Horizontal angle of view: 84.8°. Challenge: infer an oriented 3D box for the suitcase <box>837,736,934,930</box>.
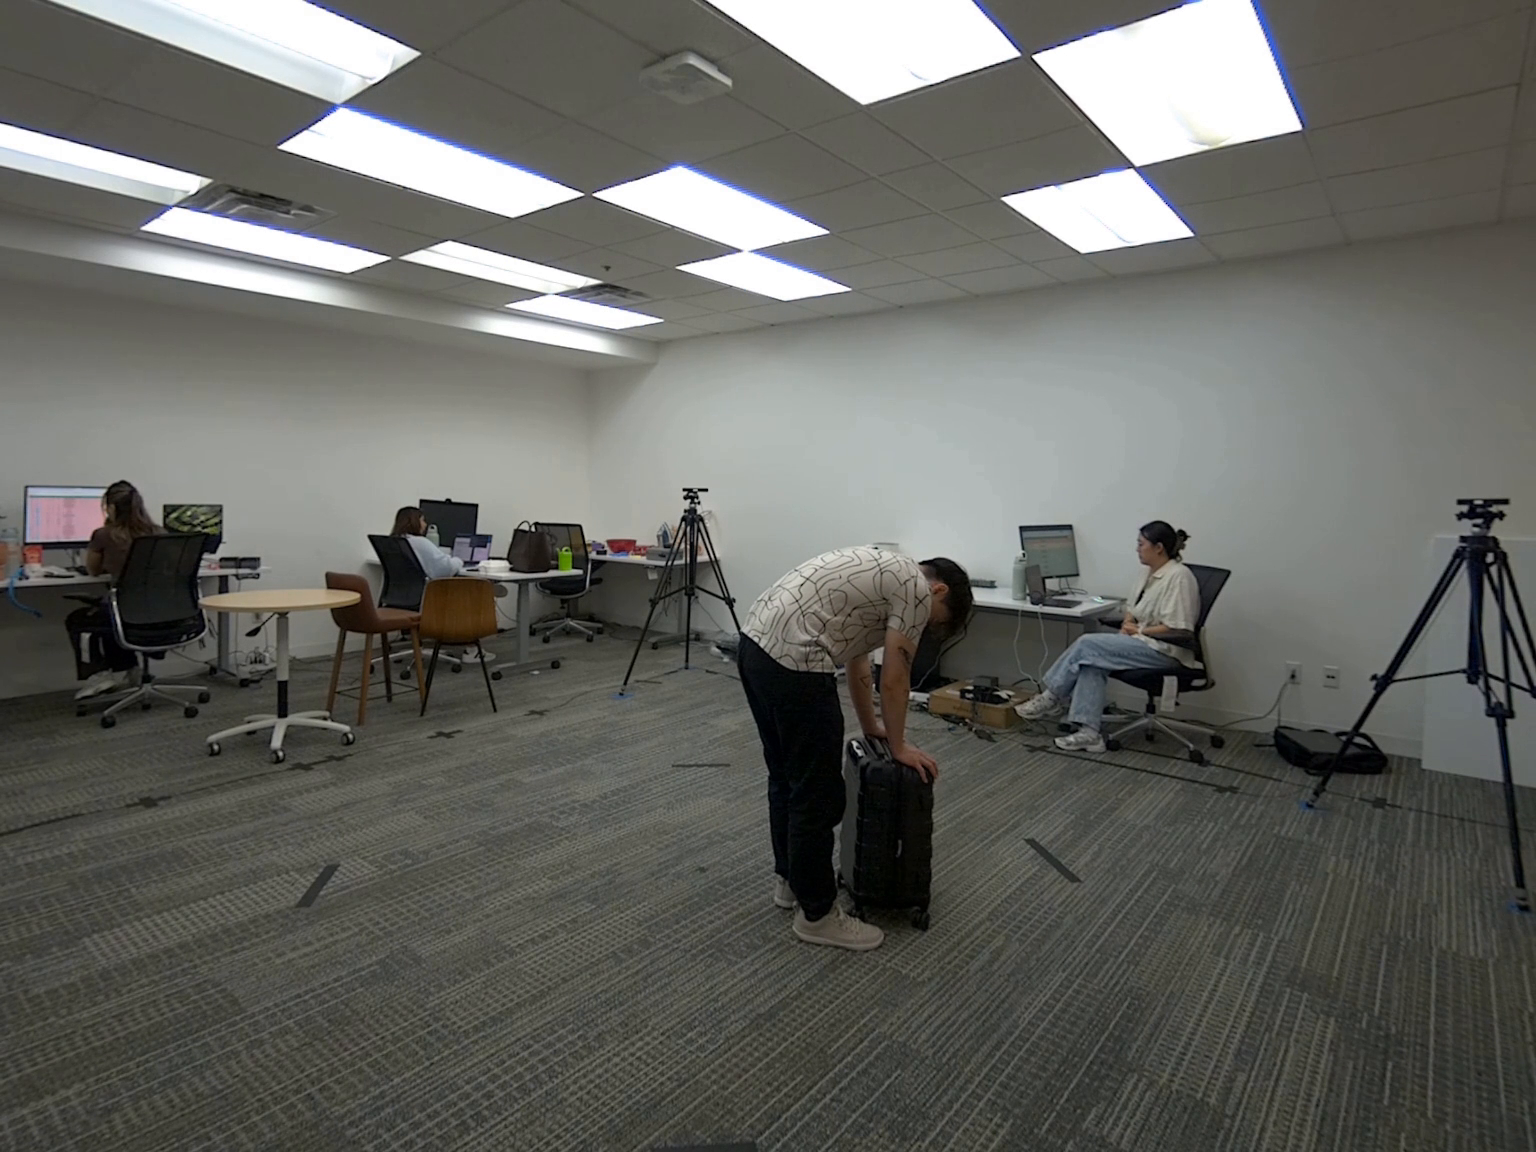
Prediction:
[{"bbox_3d":[0.397,0.832,2.879,0.248,0.548,0.377,3,3,-3],"label":"suitcase"}]
